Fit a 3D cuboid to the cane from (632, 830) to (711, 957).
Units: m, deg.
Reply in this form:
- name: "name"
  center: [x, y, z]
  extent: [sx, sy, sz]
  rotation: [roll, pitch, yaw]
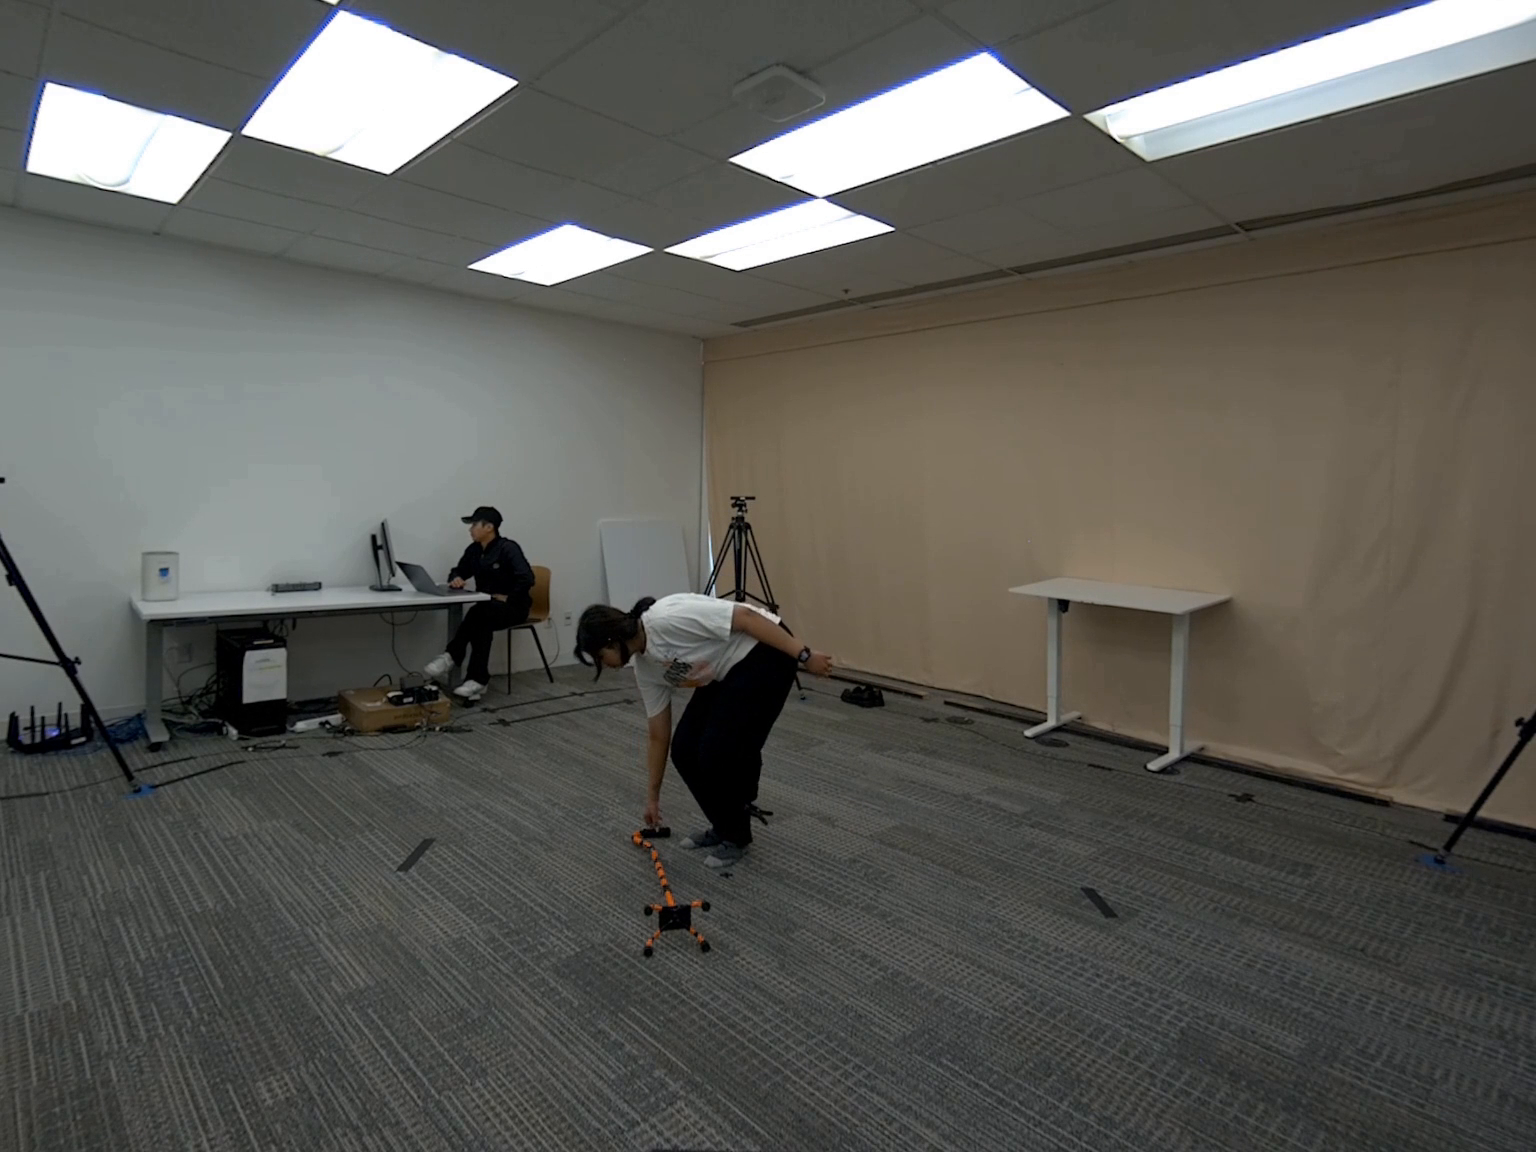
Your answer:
- name: "cane"
  center: [-0.399, 1.066, 2.991]
  extent: [0.204, 0.151, 0.917]
  rotation: [-1, 1, -15]
